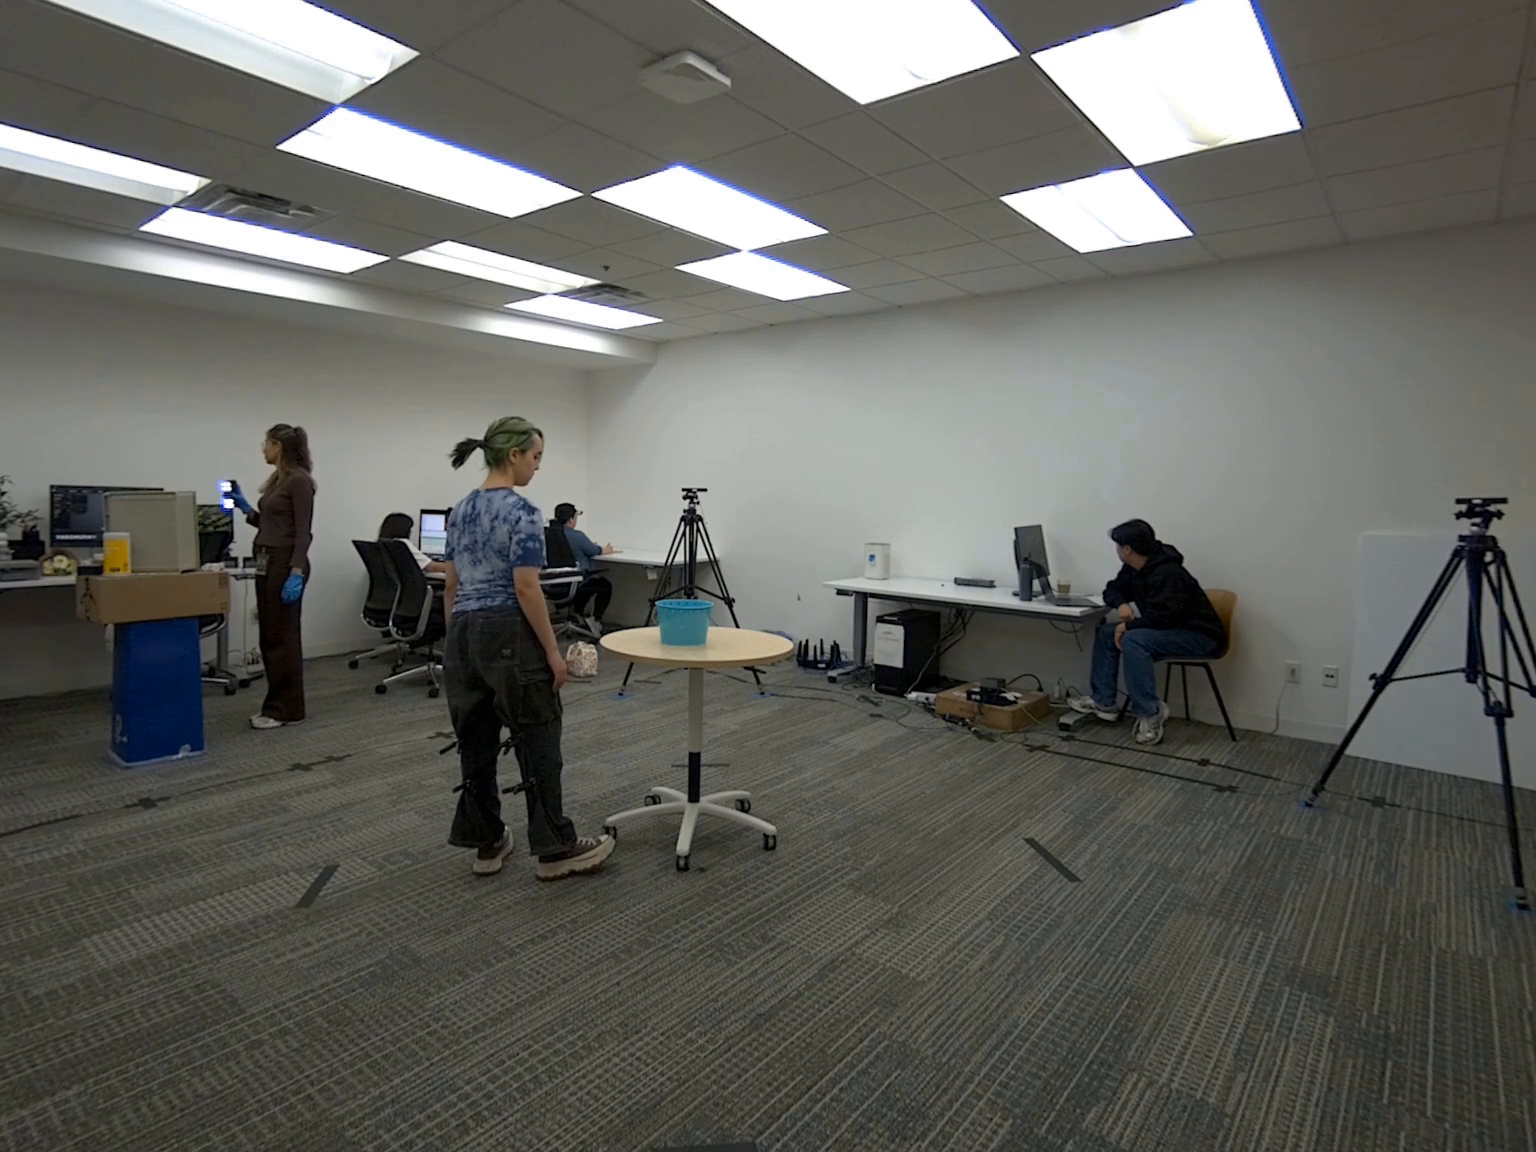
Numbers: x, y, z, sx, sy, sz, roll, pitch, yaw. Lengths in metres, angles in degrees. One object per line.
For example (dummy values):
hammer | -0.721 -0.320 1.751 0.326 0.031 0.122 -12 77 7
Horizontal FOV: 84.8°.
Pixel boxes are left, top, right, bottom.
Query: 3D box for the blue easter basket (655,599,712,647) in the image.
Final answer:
blue easter basket | -0.347 0.186 3.370 0.243 0.155 0.245 1 5 -2
